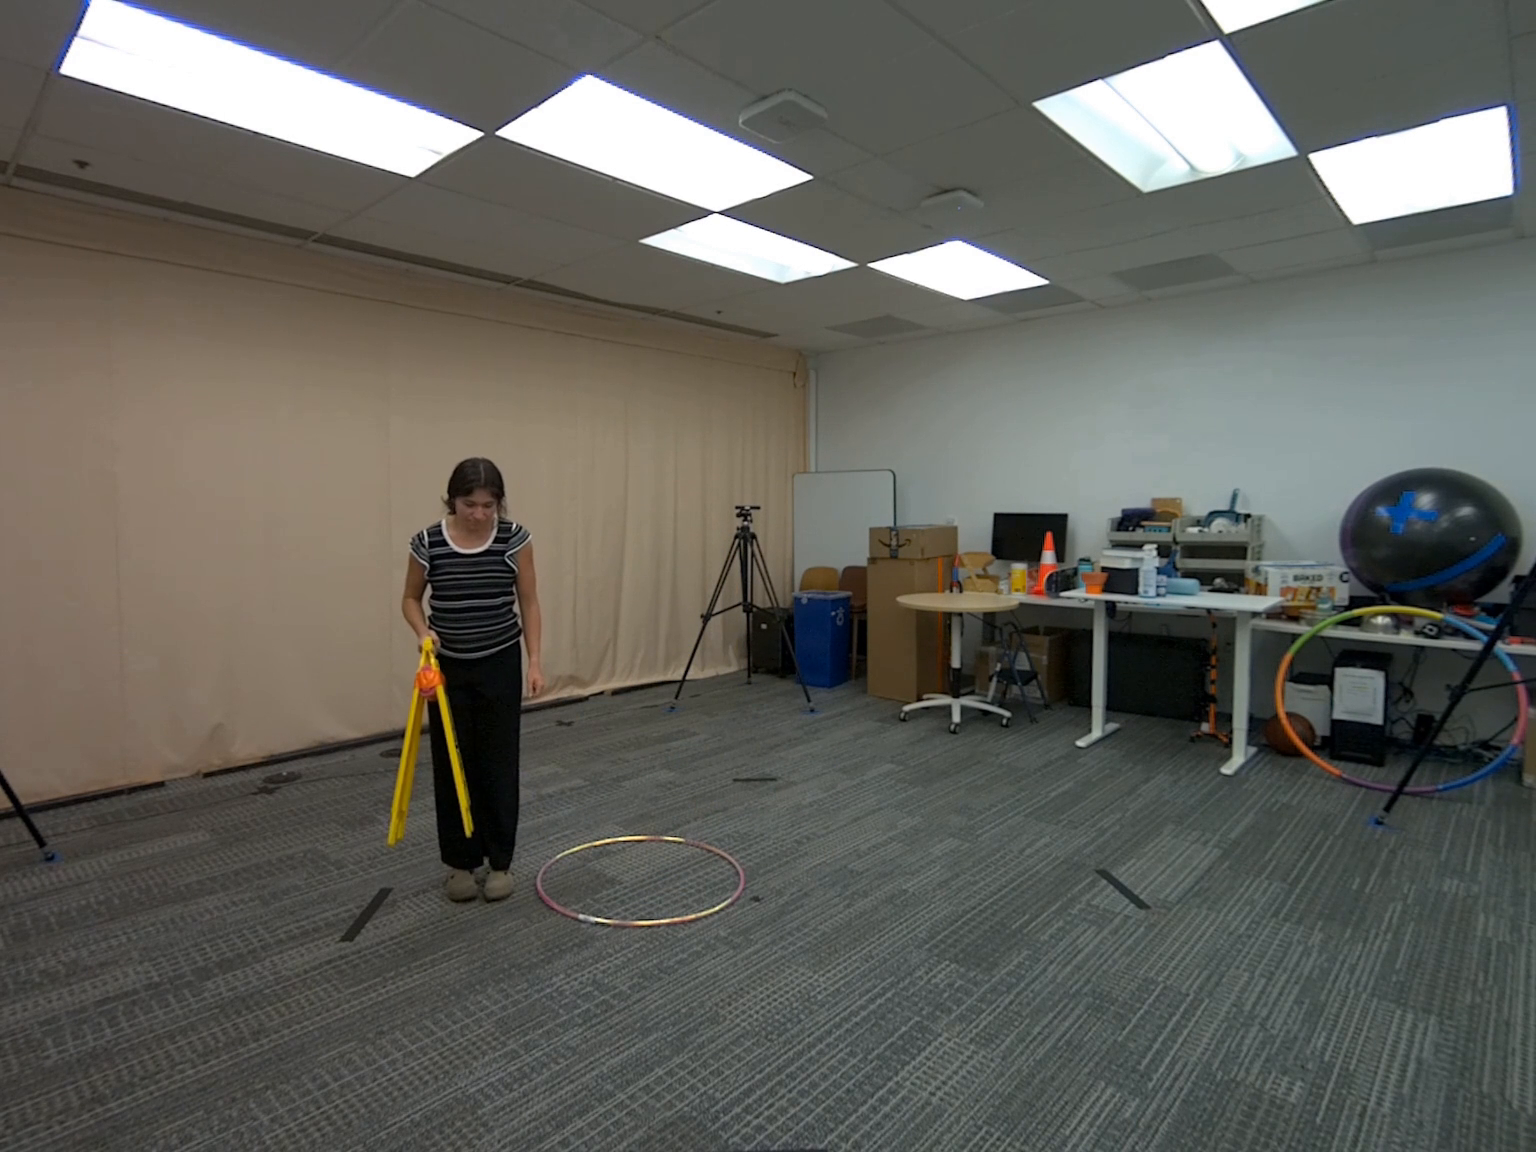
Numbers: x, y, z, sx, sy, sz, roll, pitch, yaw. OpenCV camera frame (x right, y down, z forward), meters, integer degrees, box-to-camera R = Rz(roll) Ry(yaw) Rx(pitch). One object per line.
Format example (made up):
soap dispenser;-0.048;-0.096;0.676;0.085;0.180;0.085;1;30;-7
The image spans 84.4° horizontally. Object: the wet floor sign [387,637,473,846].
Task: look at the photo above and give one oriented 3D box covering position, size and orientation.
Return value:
wet floor sign;-1.120;0.535;2.818;0.284;0.651;0.285;-1;-12;-18
